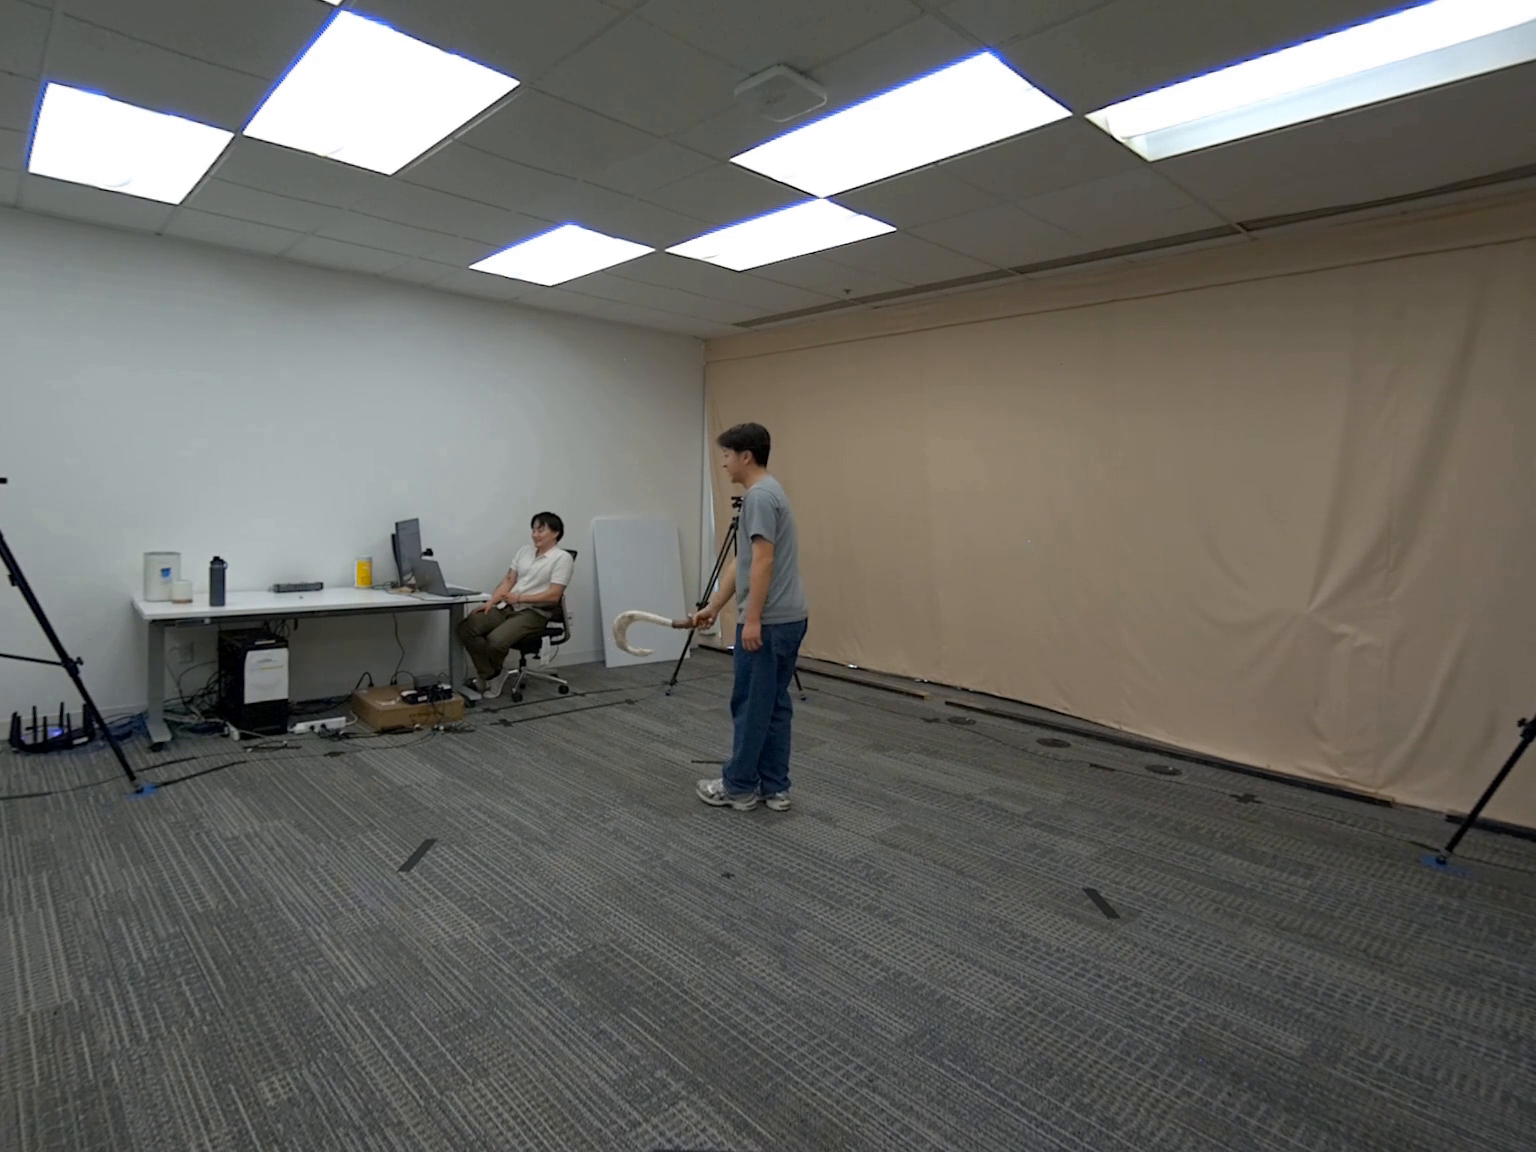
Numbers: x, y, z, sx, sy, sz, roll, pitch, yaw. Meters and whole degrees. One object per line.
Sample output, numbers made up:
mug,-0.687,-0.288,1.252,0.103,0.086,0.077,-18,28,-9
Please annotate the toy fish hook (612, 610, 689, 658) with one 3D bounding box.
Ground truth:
toy fish hook,-0.476,0.299,4.002,0.512,0.222,0.048,-1,12,14
